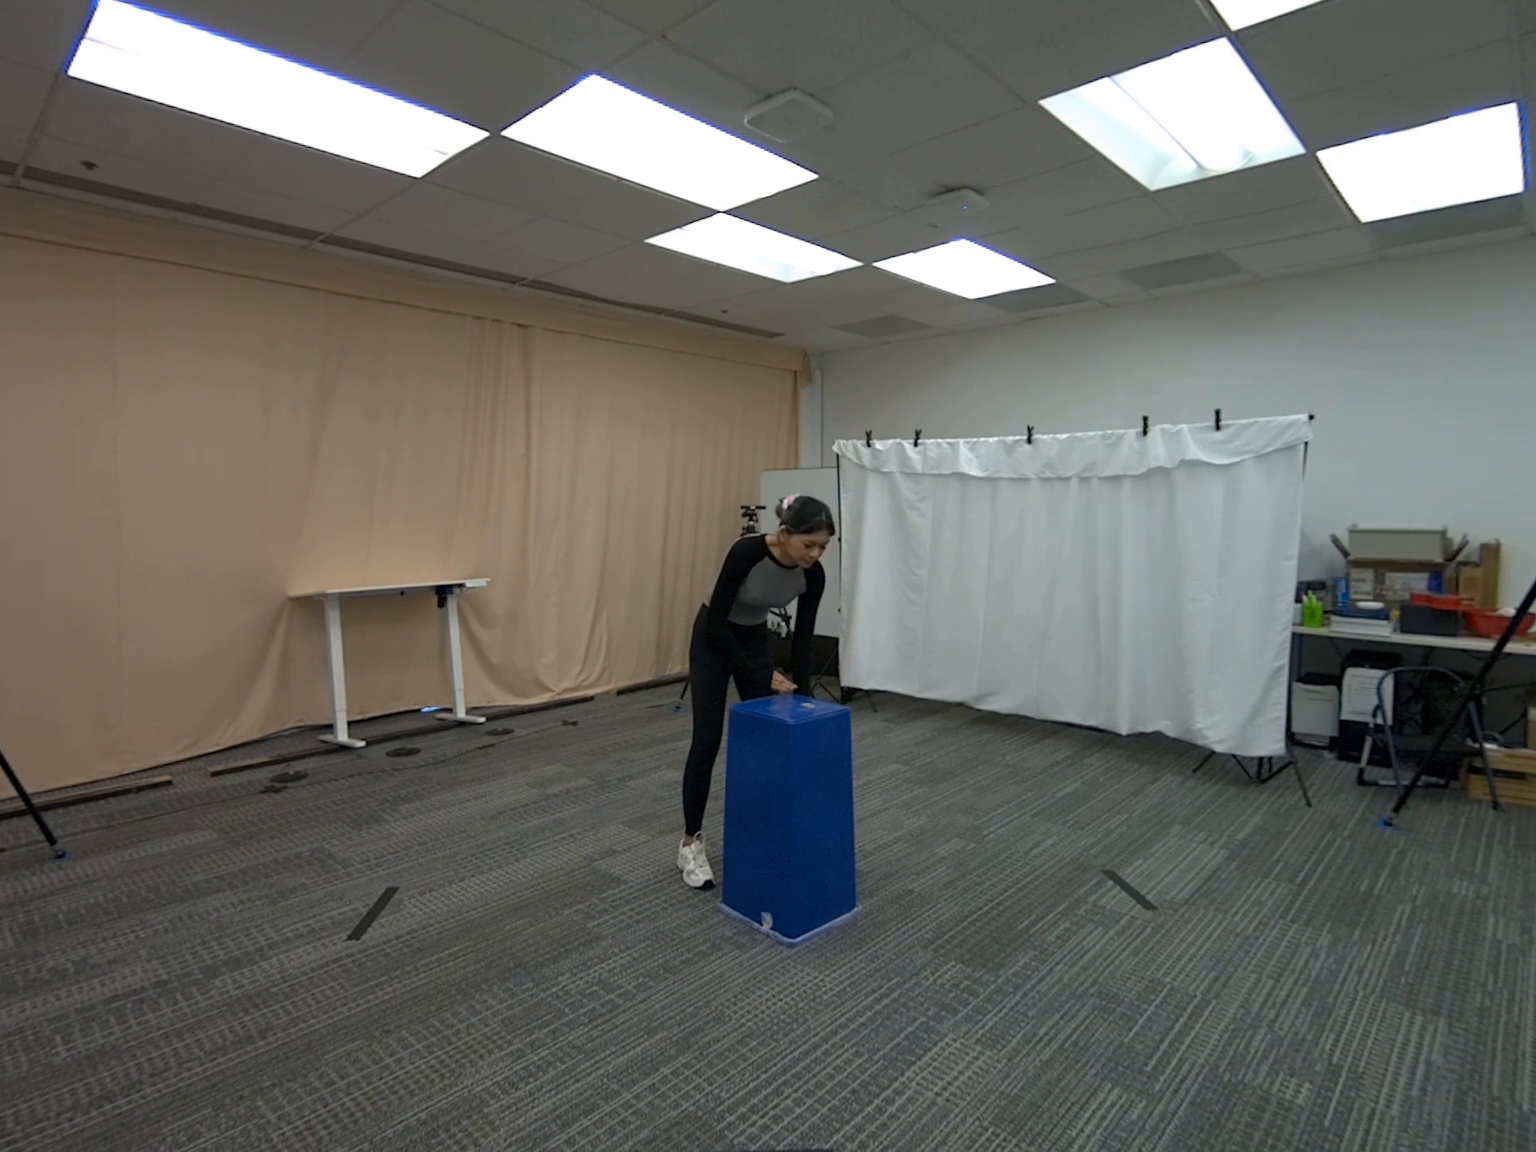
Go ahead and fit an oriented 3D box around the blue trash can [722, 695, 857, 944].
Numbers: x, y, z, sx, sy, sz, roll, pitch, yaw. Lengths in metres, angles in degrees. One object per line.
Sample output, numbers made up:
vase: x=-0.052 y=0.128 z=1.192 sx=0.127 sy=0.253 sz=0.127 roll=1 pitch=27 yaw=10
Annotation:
blue trash can: x=0.084 y=0.800 z=2.880 sx=0.362 sy=0.712 sz=0.391 roll=-2 pitch=5 yaw=-43
